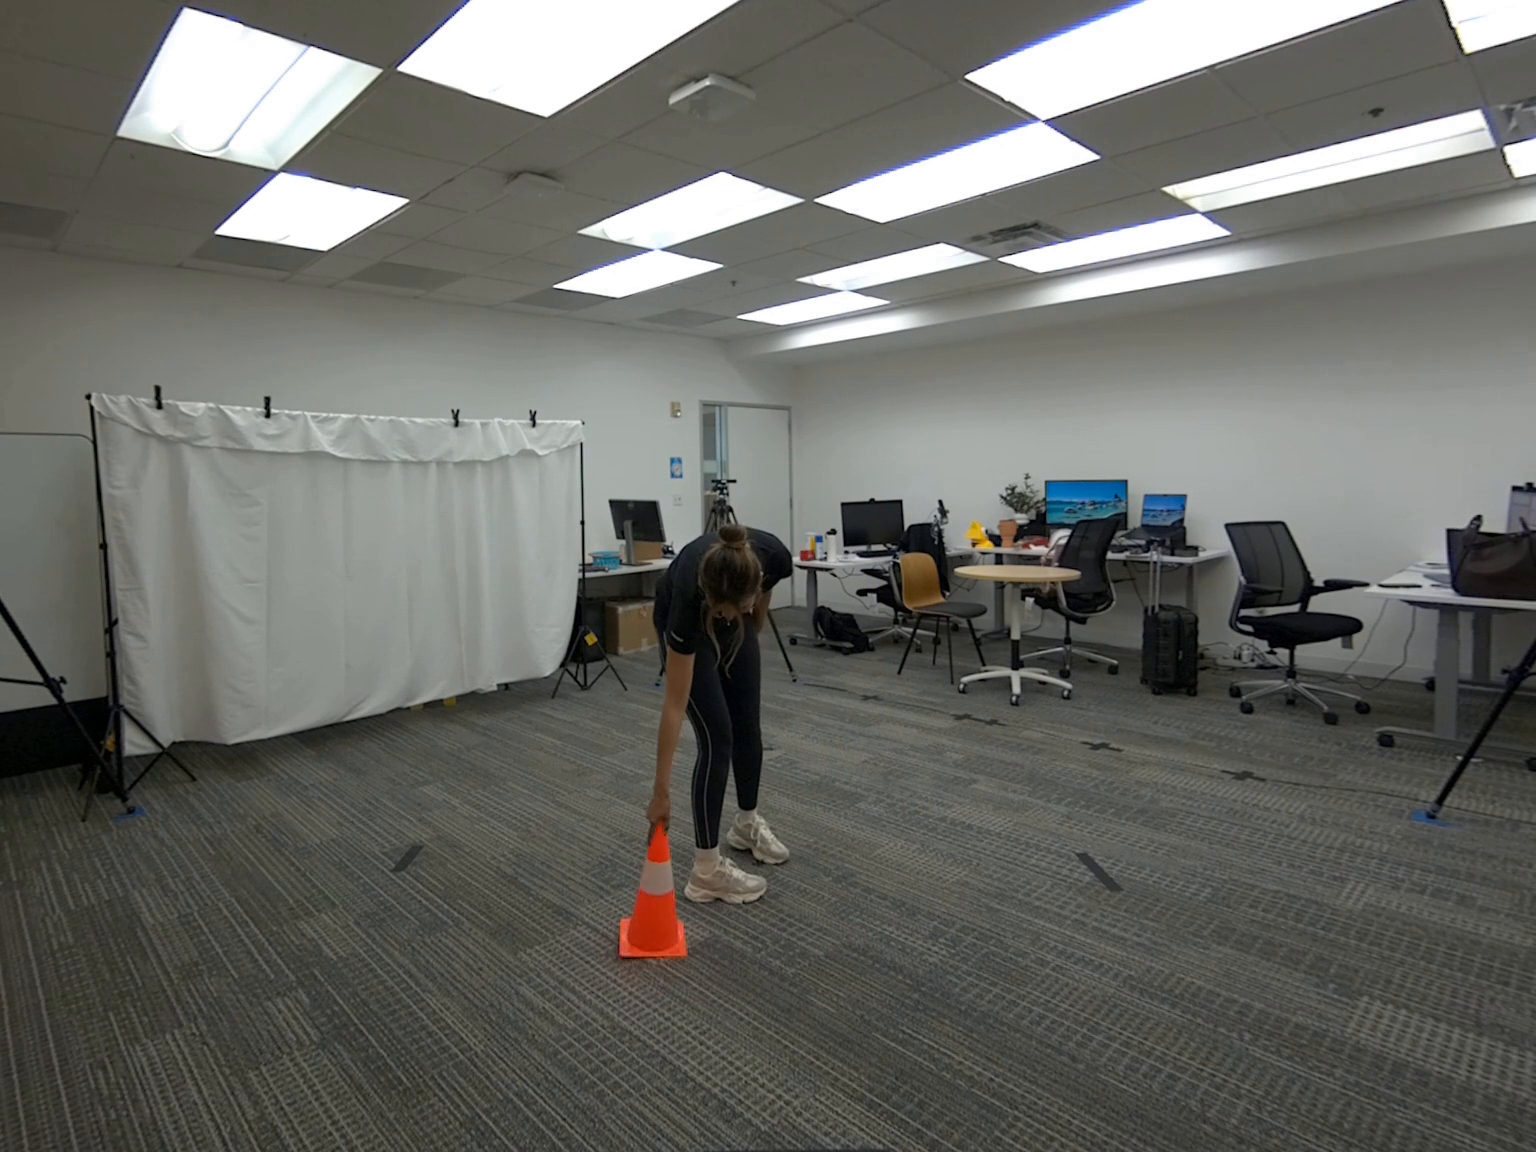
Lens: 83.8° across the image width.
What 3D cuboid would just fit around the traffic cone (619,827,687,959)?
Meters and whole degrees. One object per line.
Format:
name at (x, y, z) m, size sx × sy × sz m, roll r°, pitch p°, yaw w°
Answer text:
traffic cone at (-0.326, 0.924, 2.575) m, size 0.203 × 0.382 × 0.207 m, roll 5°, pitch 7°, yaw -11°
